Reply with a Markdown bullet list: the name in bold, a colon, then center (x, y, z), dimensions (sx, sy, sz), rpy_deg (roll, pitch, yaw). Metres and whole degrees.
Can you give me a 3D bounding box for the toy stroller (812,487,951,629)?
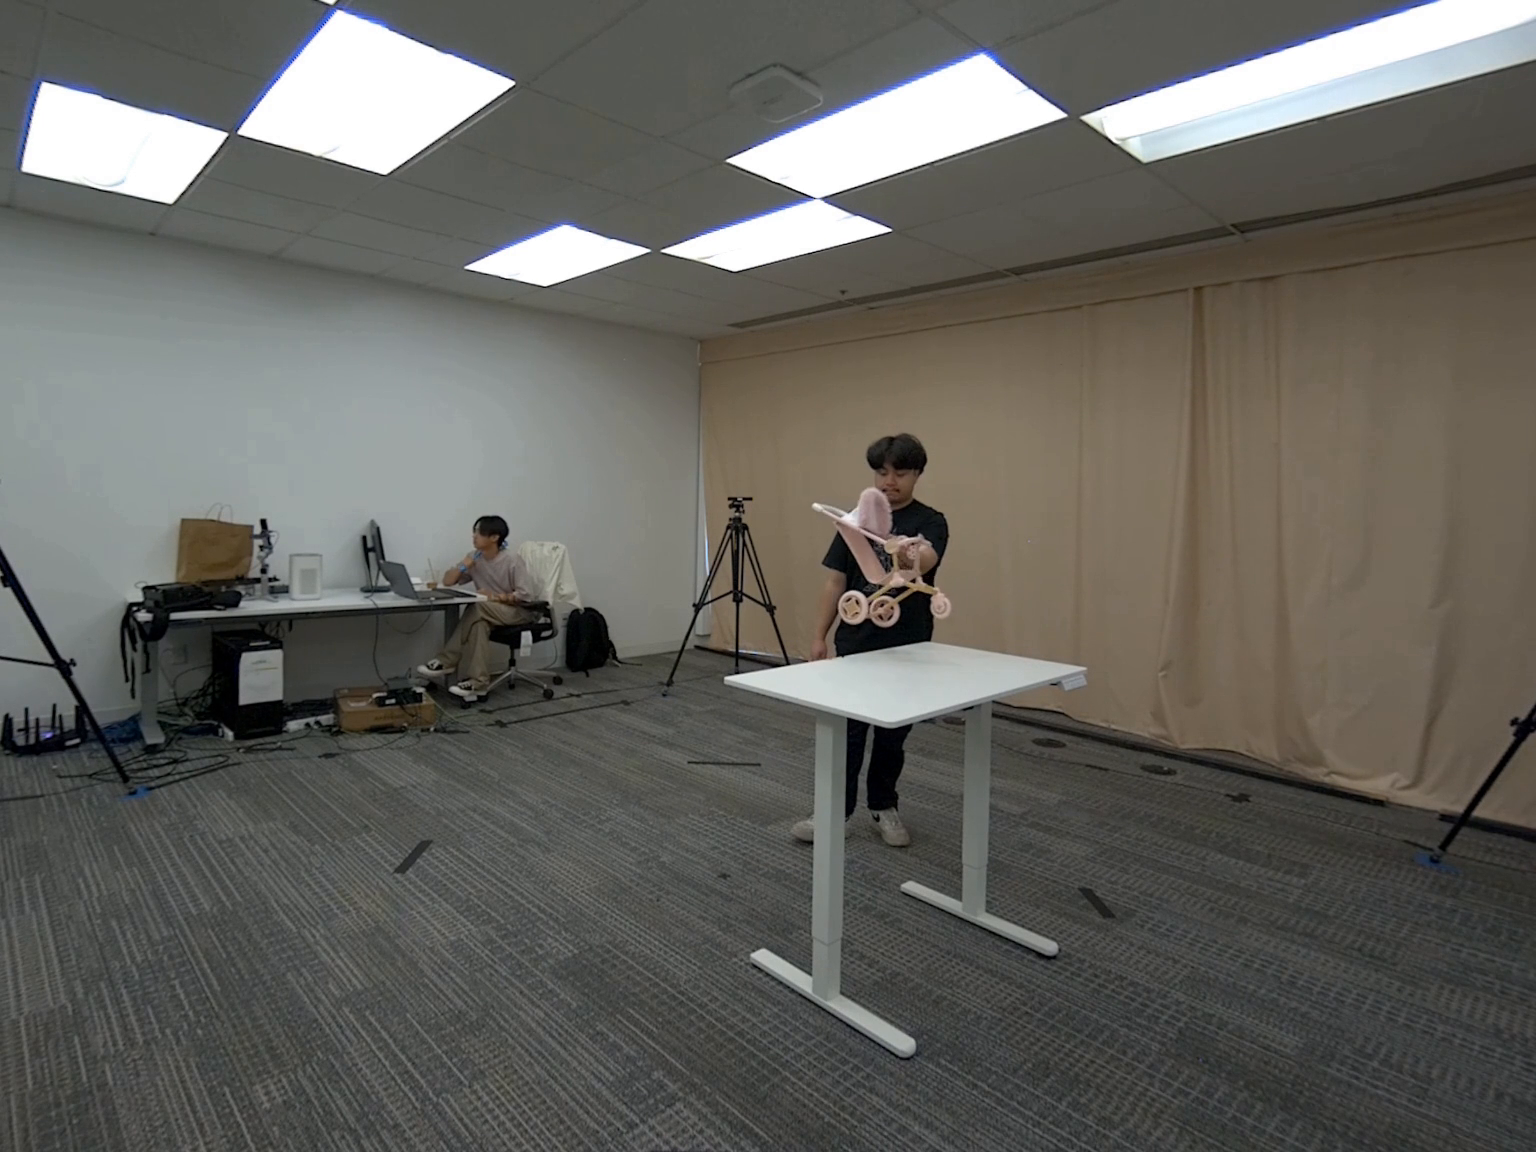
- **toy stroller**: center (0.387, -0.067, 2.860), dimensions (0.345, 0.543, 0.274), rpy_deg (-27, -21, 33)
